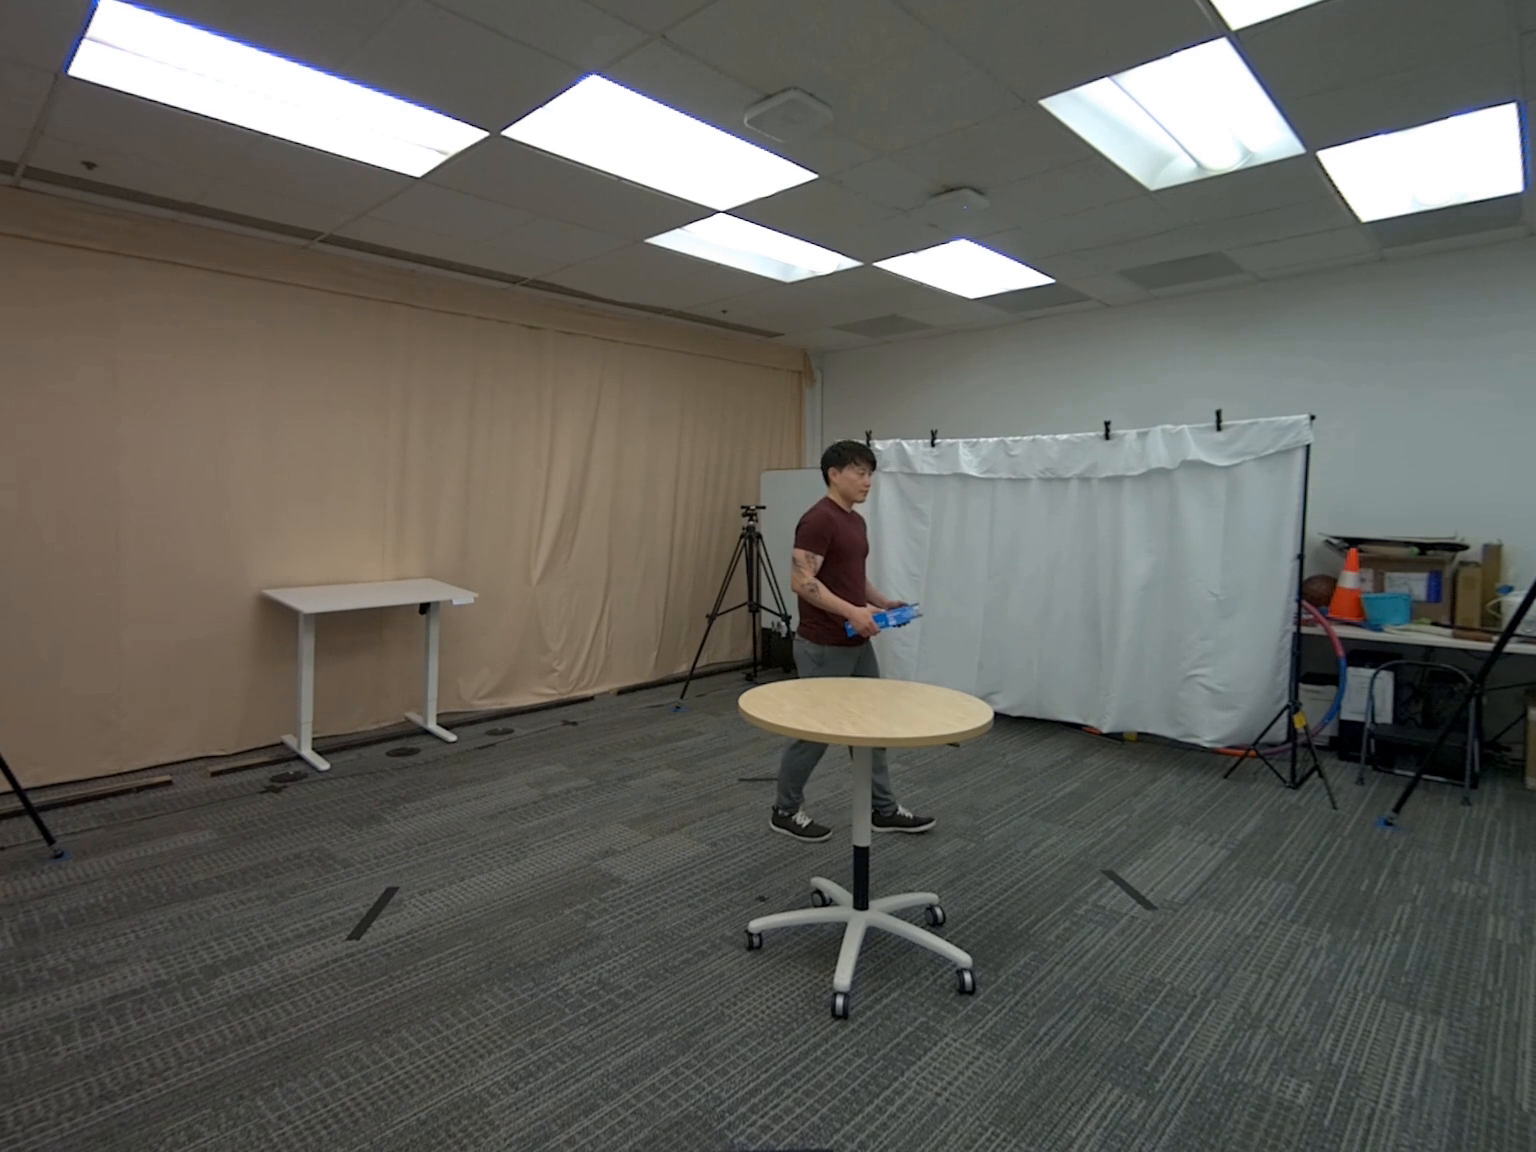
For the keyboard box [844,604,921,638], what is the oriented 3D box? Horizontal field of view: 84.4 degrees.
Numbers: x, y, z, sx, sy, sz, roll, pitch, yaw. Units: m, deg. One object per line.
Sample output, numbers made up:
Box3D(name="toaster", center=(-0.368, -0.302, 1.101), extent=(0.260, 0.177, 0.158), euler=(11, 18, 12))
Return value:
Box3D(name="keyboard box", center=(0.486, 0.163, 3.402), extent=(0.180, 0.059, 0.425), euler=(-12, -2, 31))
